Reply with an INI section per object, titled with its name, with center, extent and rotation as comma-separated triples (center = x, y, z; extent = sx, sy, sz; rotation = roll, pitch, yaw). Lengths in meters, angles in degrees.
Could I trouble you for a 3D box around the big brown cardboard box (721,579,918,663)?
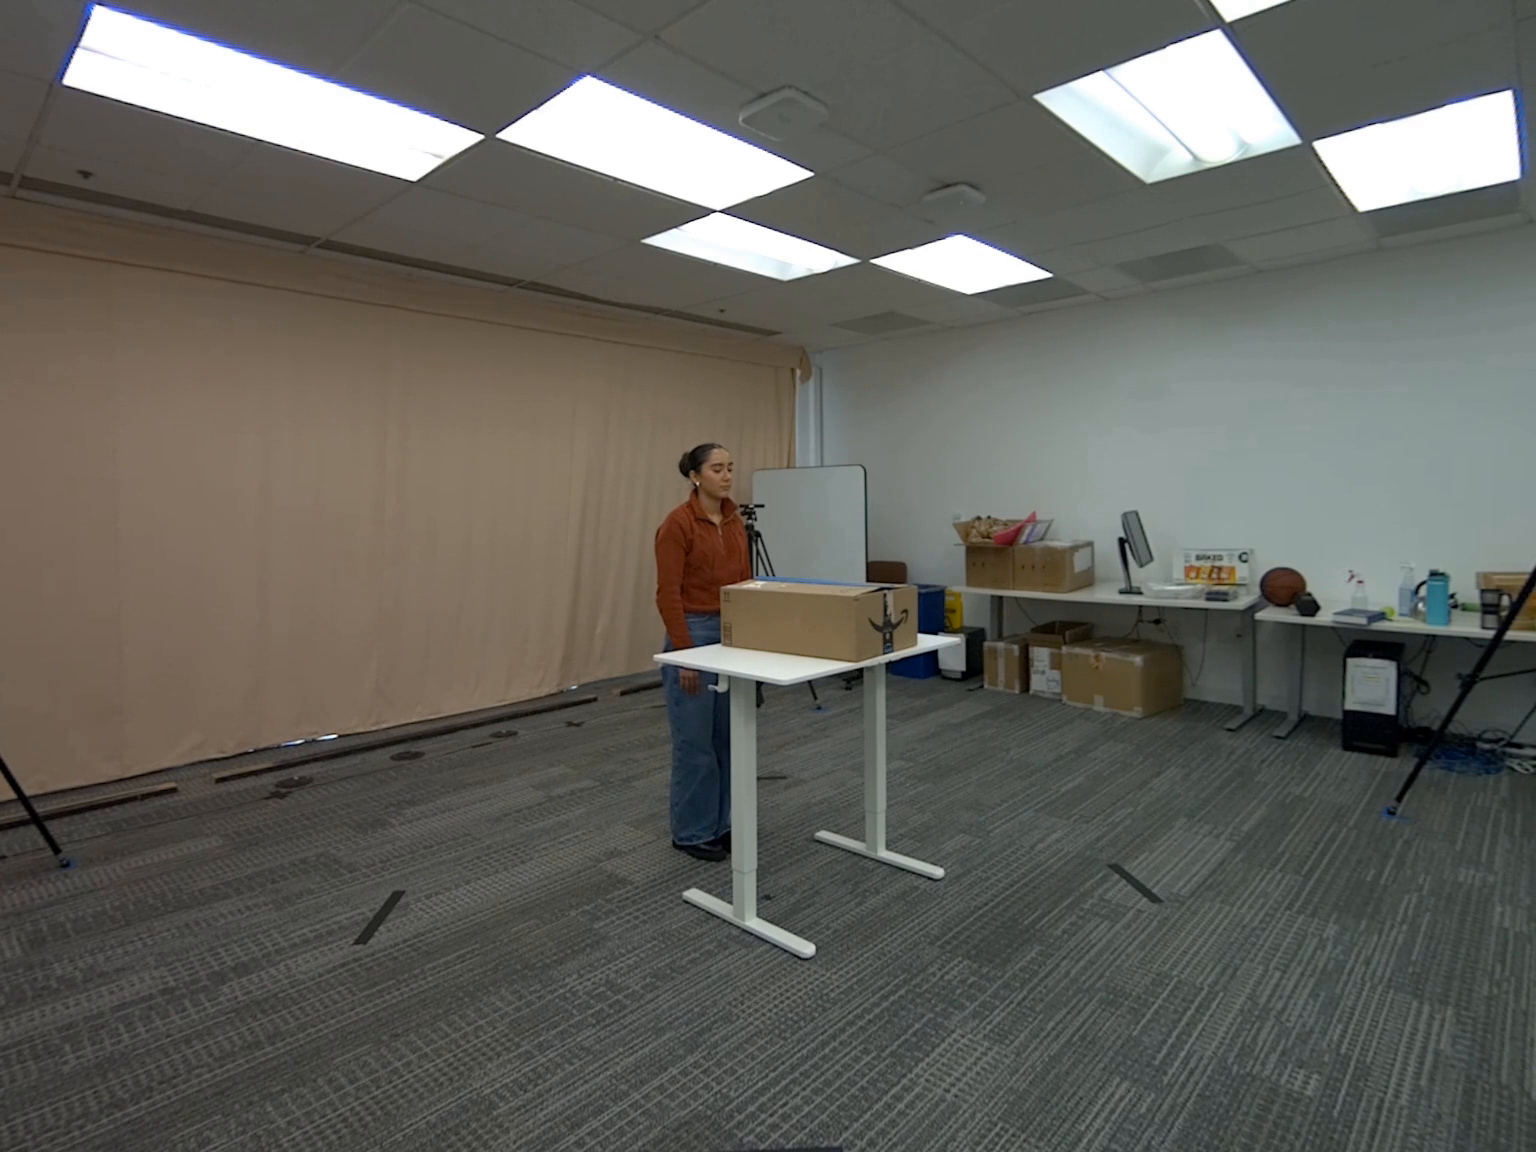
[big brown cardboard box]
center = 0.183, 0.141, 3.020
extent = 0.608, 0.232, 0.405
rotation = 4, 6, 38
